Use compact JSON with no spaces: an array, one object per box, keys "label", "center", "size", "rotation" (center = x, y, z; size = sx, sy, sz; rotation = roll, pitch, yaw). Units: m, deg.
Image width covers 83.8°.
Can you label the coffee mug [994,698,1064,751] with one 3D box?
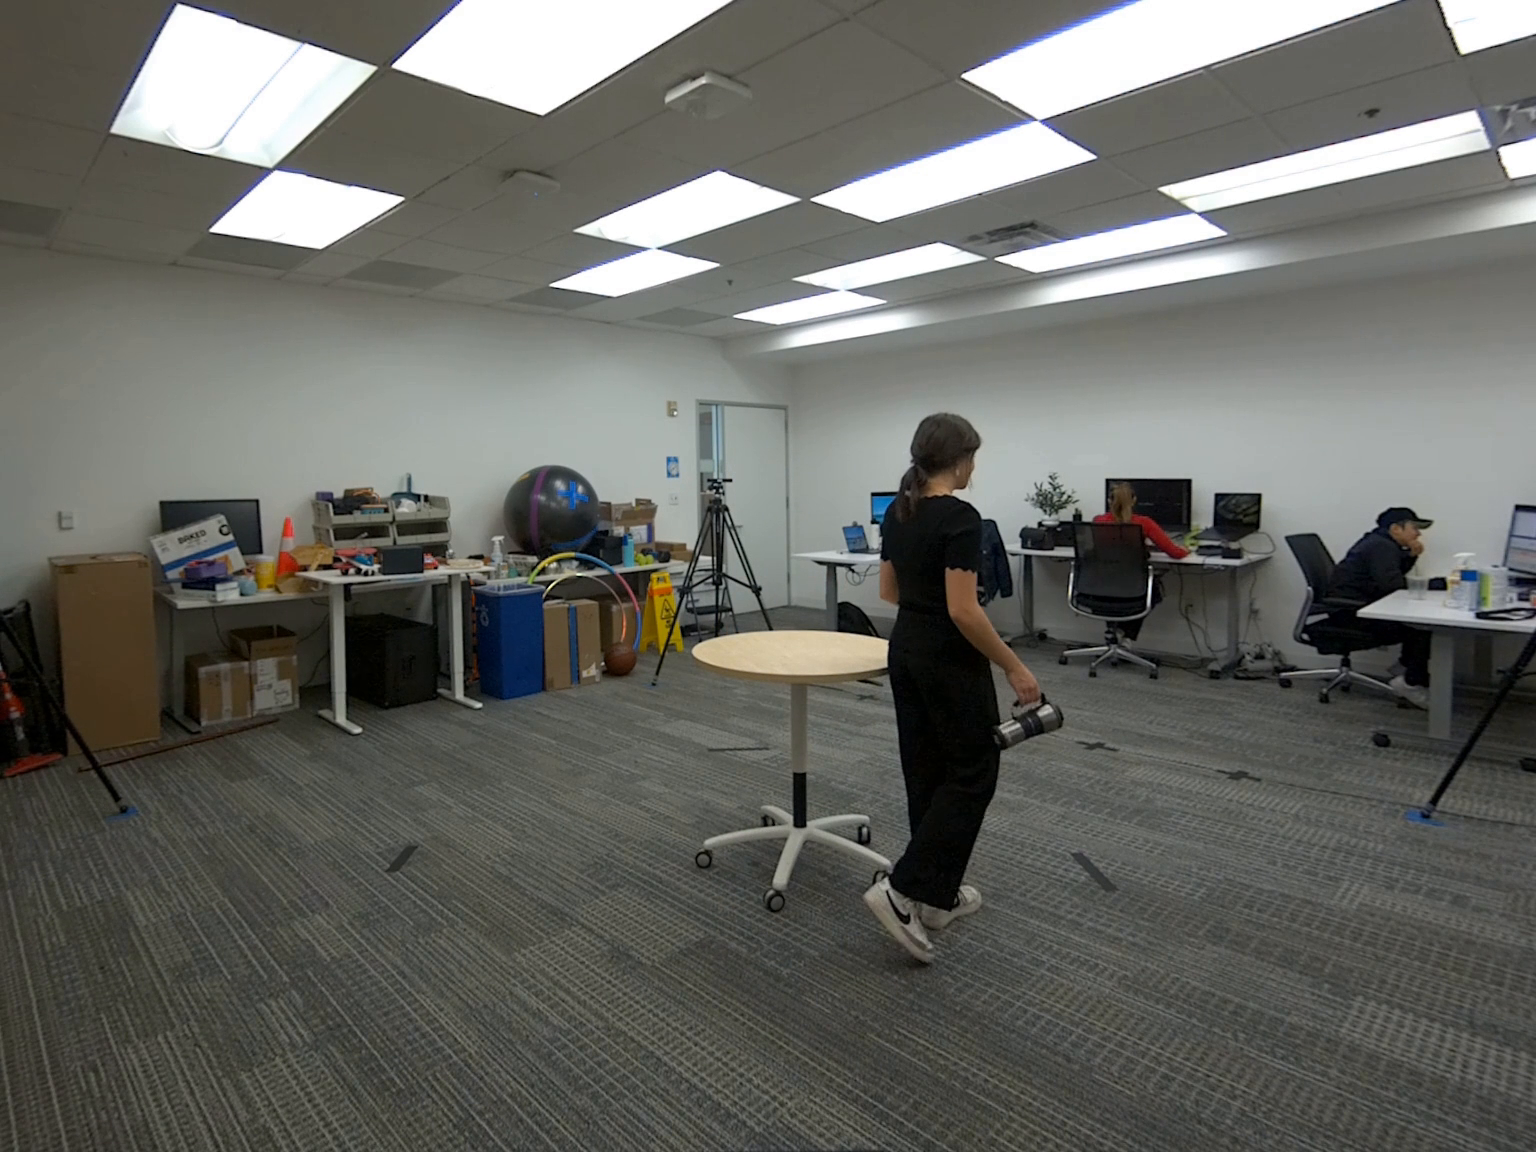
[{"label":"coffee mug","center":[0.743,0.404,2.492],"size":[0.202,0.122,0.088],"rotation":[-15,2,-4]}]
